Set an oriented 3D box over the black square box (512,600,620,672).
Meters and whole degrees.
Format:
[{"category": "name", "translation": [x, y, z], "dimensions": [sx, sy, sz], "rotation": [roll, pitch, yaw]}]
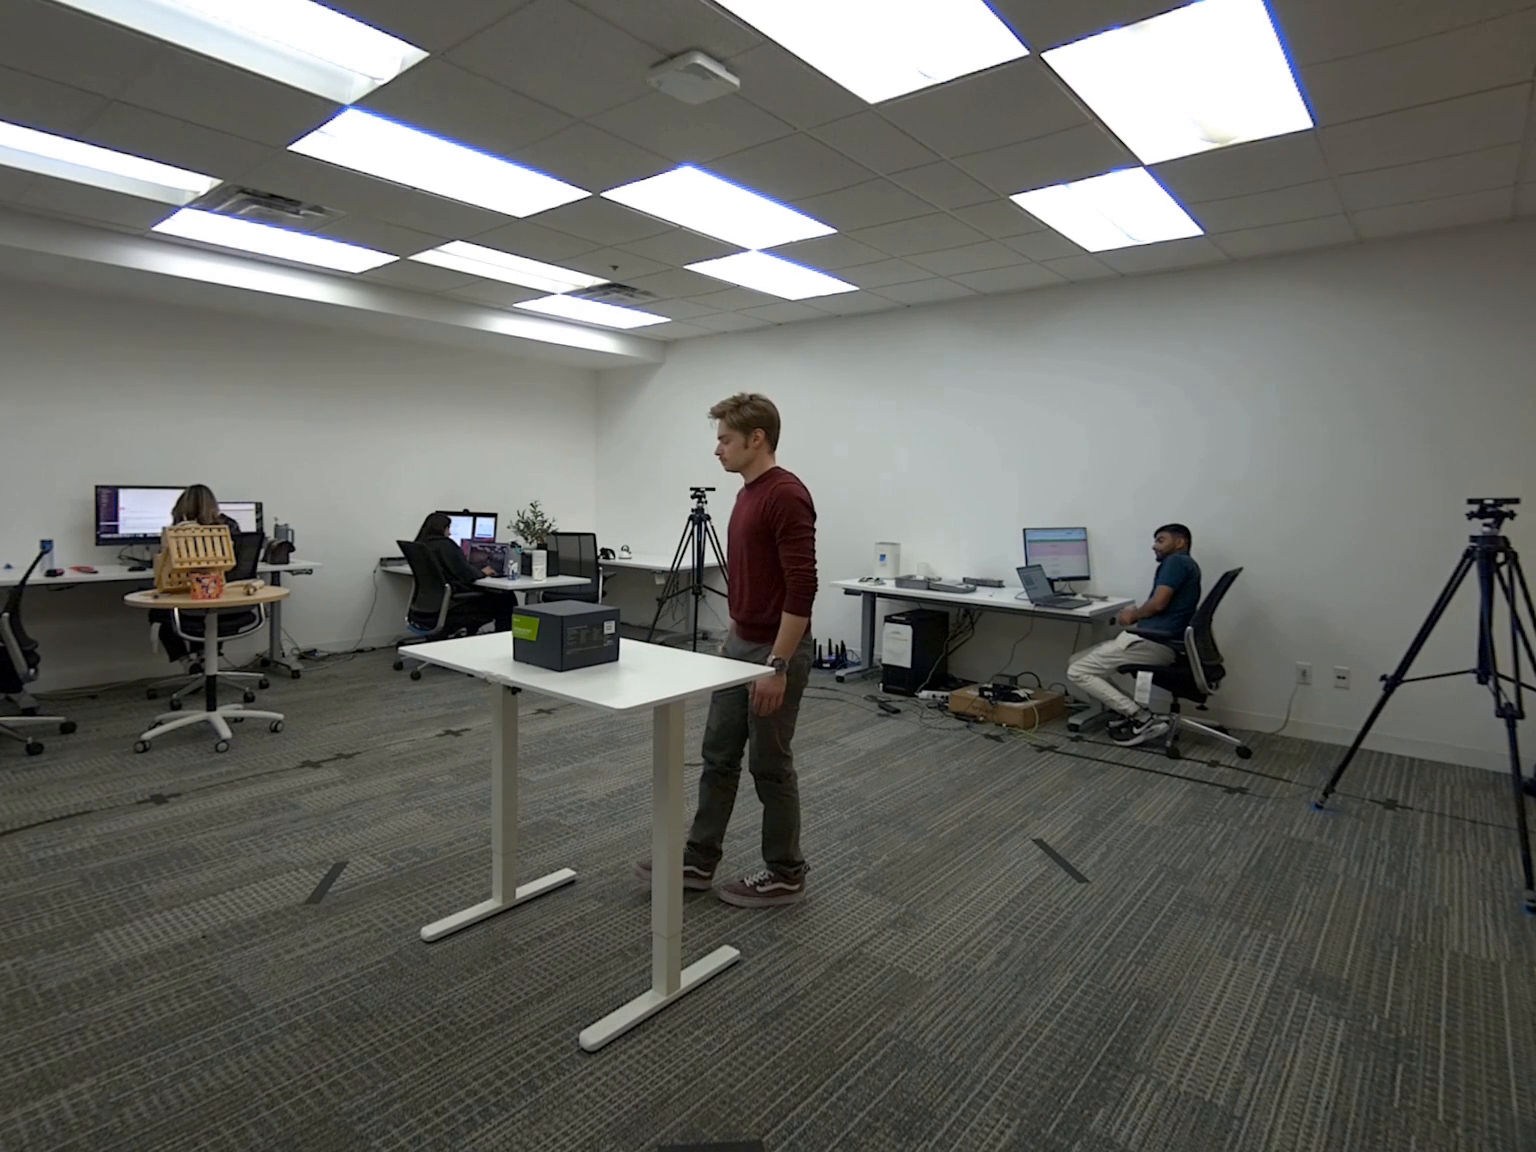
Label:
[{"category": "black square box", "translation": [-0.595, 0.163, 2.461], "dimensions": [0.235, 0.155, 0.211], "rotation": [5, 7, 39]}]
